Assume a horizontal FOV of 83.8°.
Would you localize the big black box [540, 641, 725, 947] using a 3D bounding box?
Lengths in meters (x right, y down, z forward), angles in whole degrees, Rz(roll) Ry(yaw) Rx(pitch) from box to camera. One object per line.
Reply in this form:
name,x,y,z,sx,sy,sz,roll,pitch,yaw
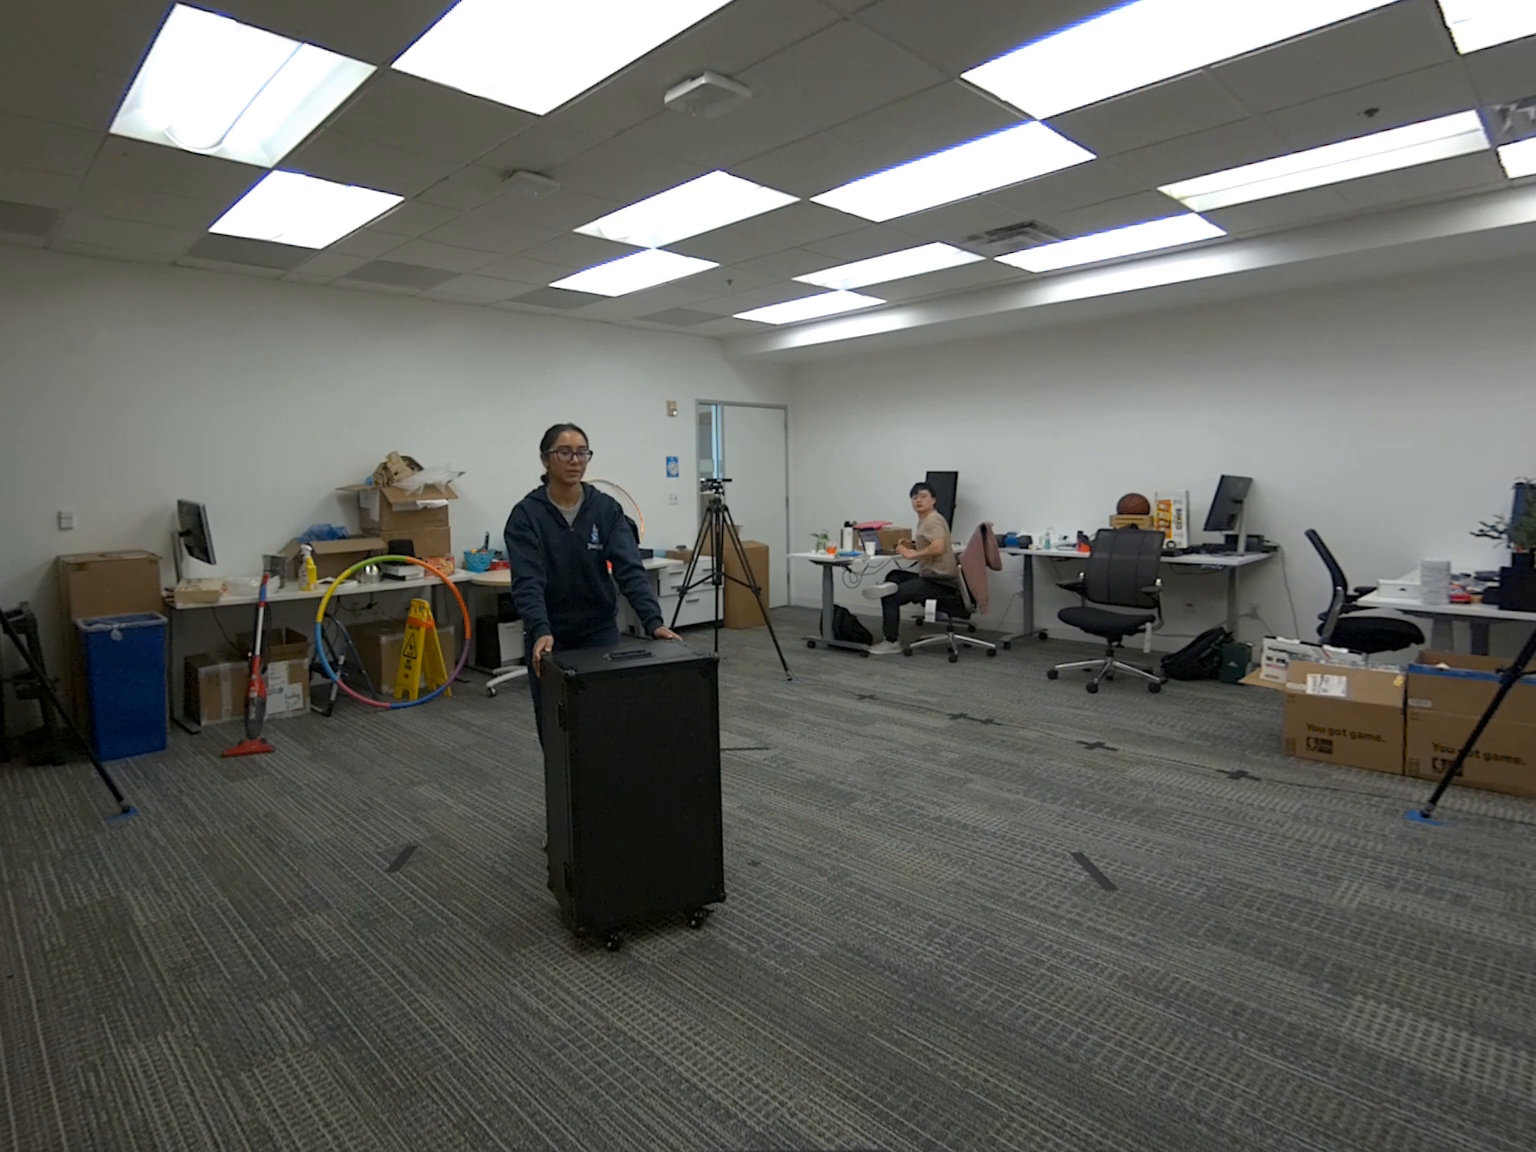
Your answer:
big black box,-0.445,0.672,2.730,0.510,0.859,0.406,-4,3,-27
